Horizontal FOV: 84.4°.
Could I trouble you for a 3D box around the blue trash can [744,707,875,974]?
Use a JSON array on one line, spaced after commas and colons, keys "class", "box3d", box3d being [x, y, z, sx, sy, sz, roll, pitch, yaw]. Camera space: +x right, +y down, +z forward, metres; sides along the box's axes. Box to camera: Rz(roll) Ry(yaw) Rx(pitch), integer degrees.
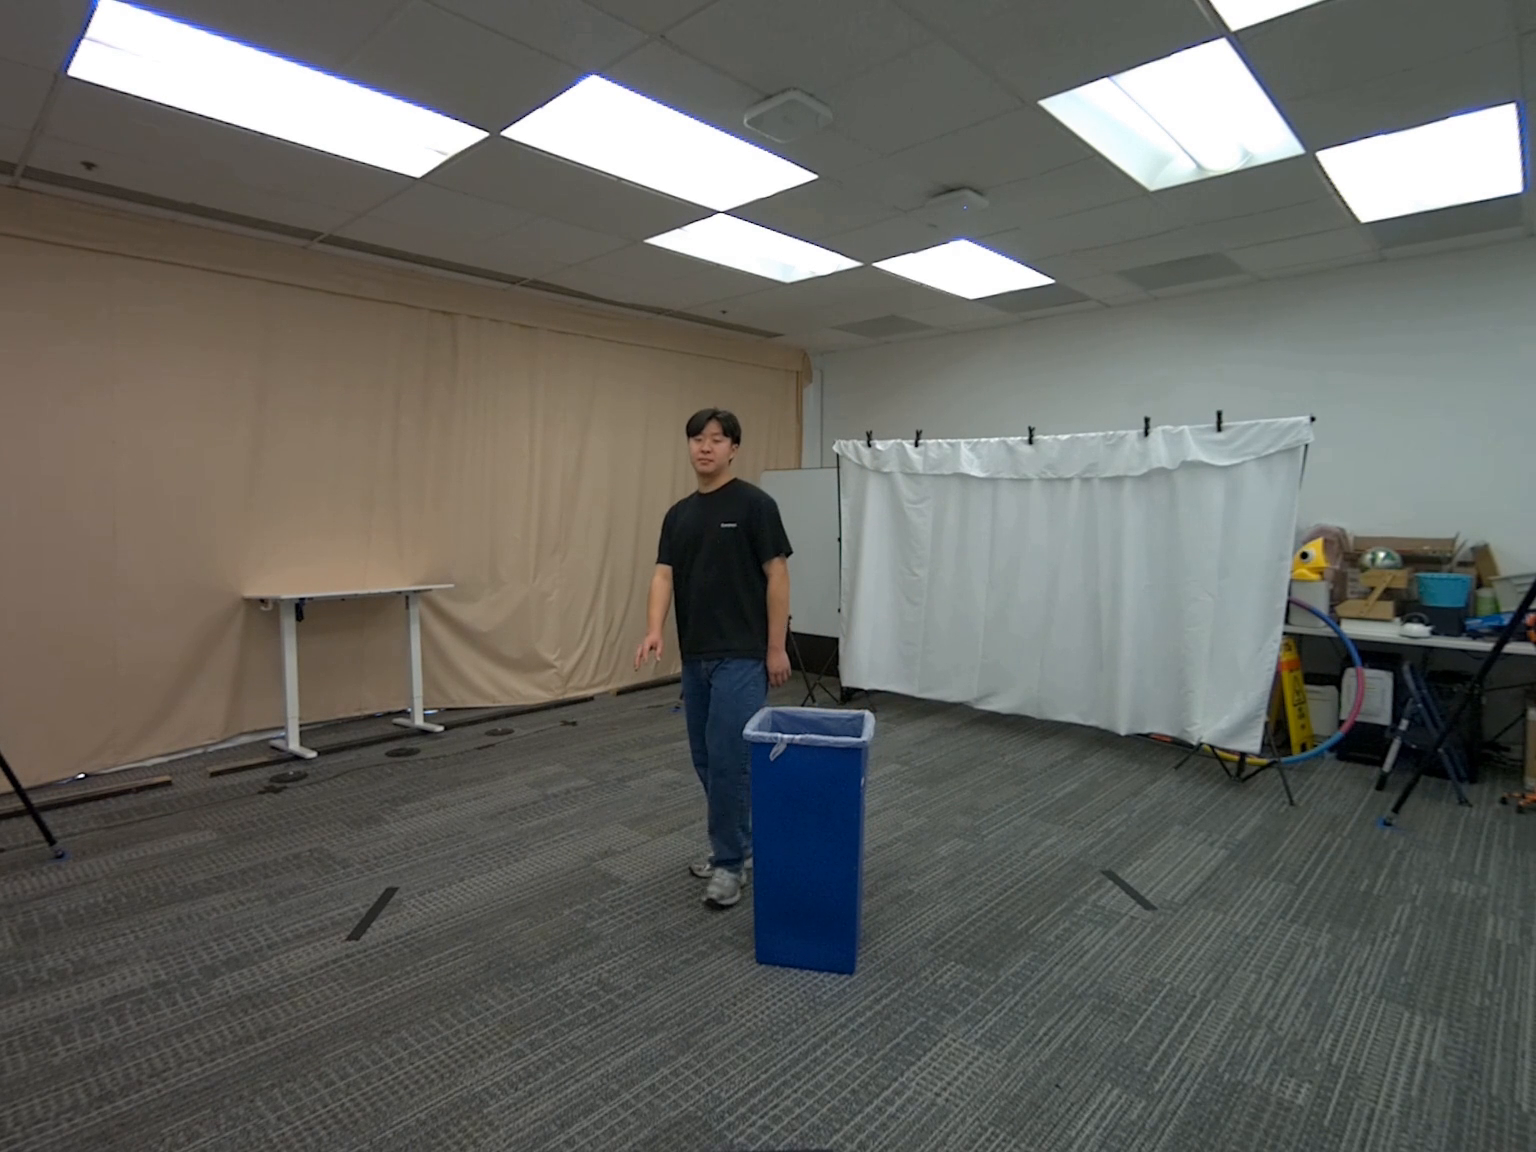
[{"class": "blue trash can", "box3d": [0.145, 0.814, 2.647, 0.383, 0.713, 0.369, 1, 2, 12]}]
